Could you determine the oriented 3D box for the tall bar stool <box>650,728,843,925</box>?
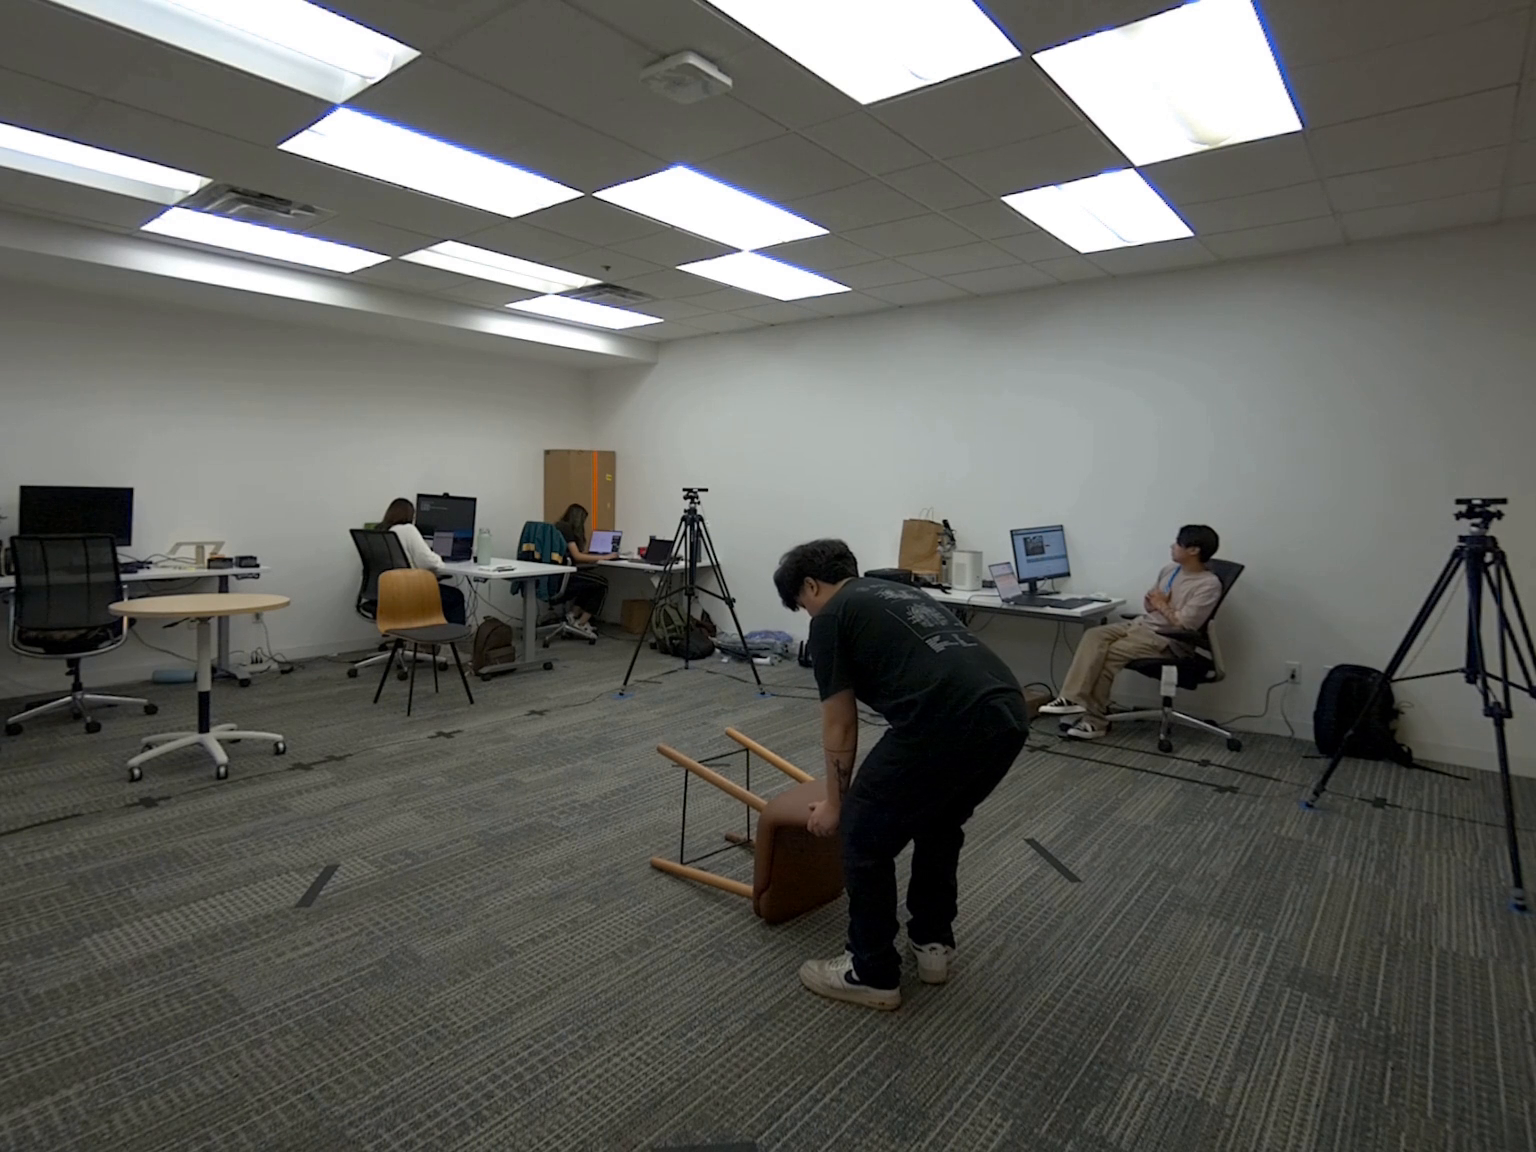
[{"bbox_3d":[0.018,0.865,2.928,0.442,0.466,0.920,-2,5,-45],"label":"tall bar stool"}]
